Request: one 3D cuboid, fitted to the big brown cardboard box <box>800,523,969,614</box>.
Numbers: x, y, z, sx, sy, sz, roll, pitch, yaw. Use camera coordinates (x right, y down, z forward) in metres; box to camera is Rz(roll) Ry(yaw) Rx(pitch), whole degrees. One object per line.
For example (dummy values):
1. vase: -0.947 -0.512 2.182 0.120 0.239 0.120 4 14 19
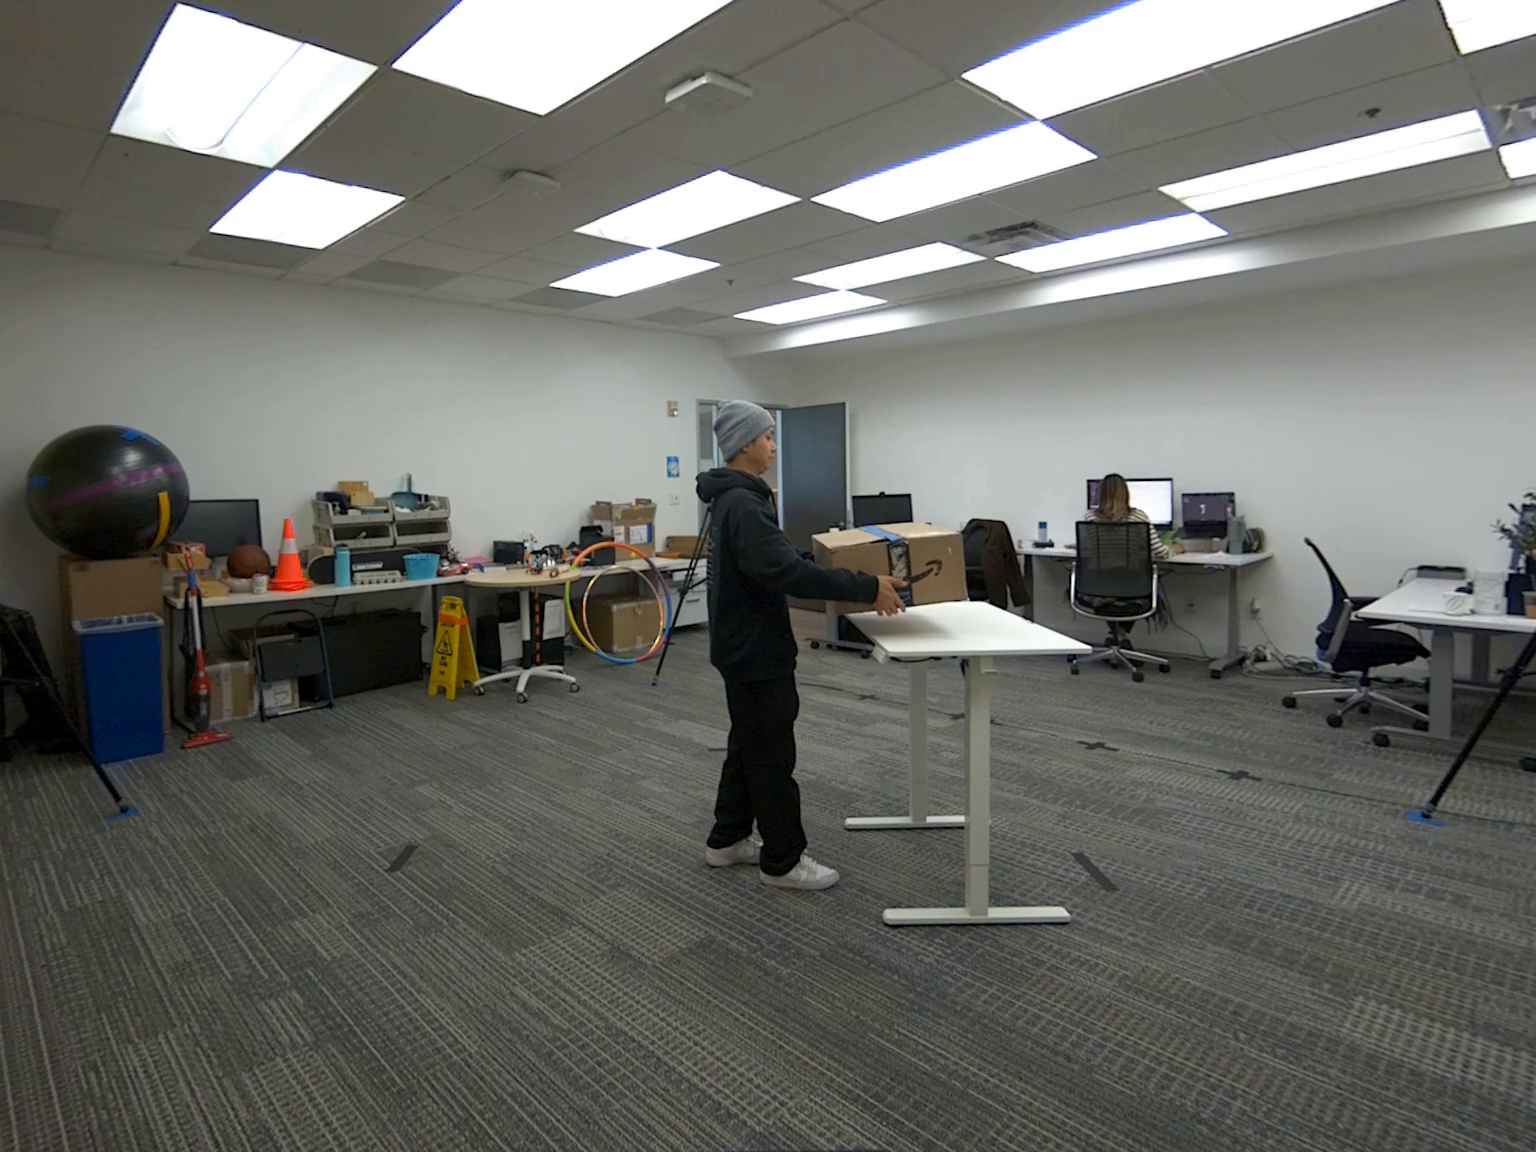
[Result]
1. big brown cardboard box: 0.389 -0.040 2.960 0.417 0.232 0.592 -6 6 -2
